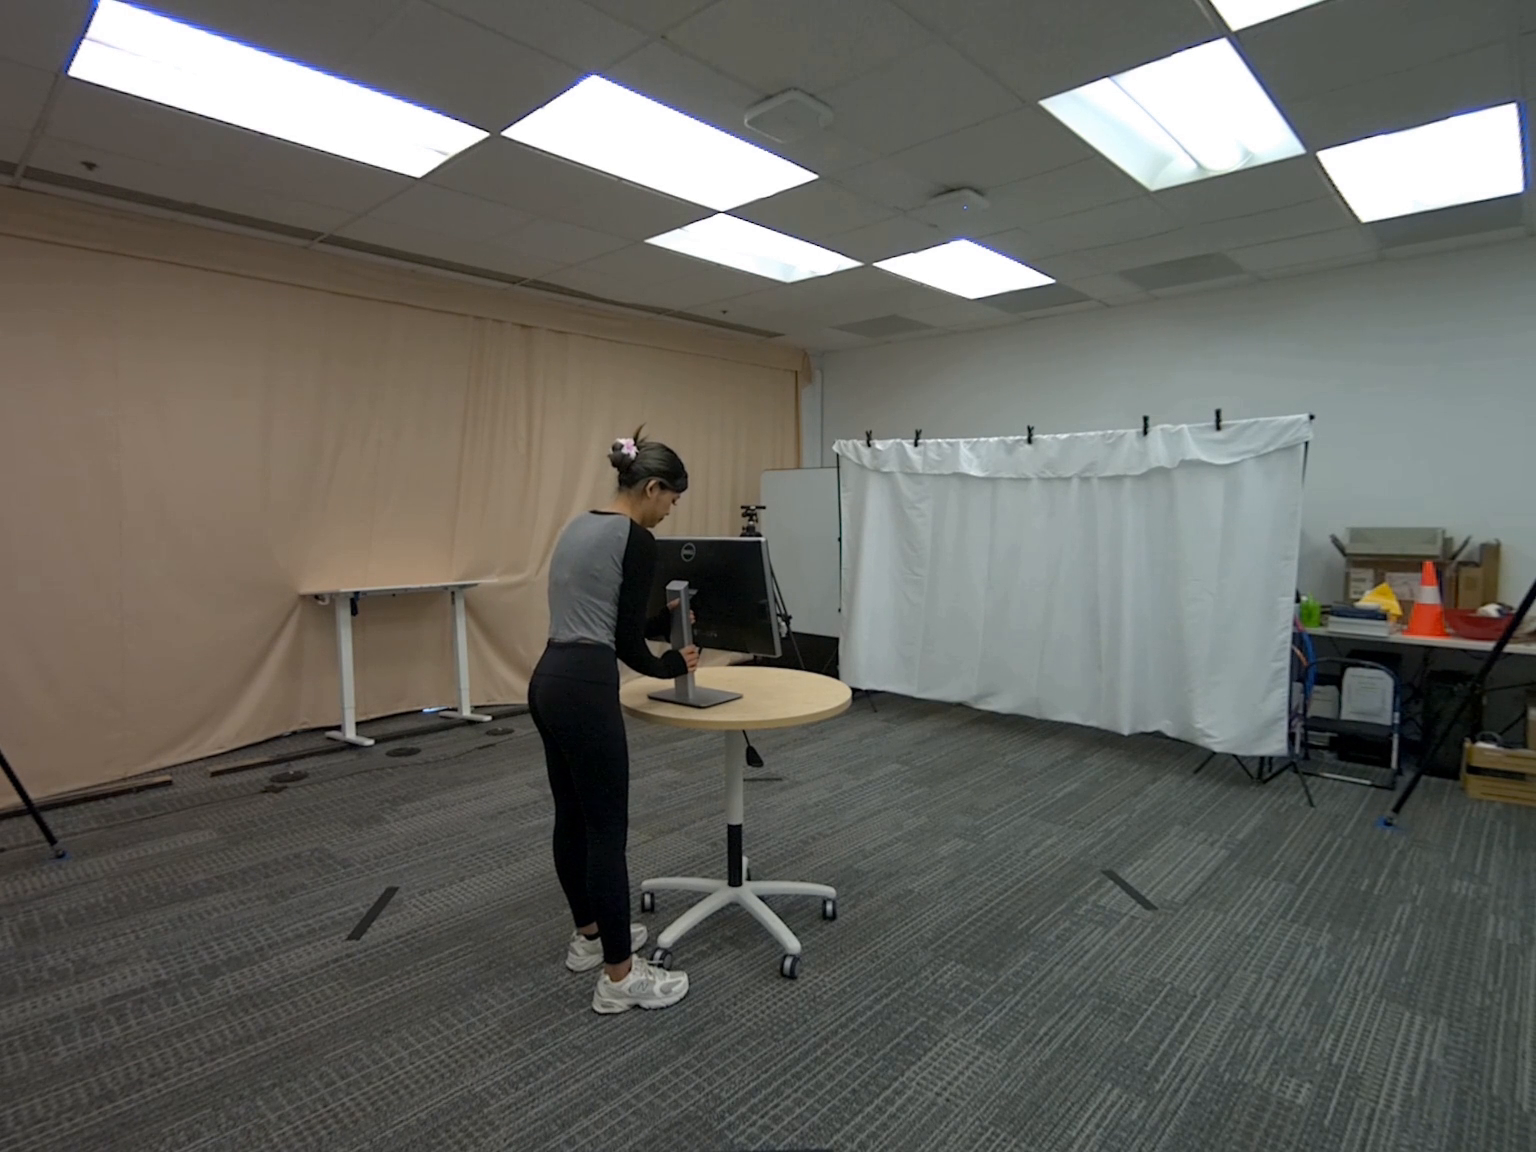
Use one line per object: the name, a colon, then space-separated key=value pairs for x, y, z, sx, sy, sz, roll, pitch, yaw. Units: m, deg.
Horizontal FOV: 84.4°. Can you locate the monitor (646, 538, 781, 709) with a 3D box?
monitor: x=-0.224 y=0.137 z=2.638 sx=0.547 sy=0.517 sz=0.169 roll=0 pitch=-4 yaw=38
